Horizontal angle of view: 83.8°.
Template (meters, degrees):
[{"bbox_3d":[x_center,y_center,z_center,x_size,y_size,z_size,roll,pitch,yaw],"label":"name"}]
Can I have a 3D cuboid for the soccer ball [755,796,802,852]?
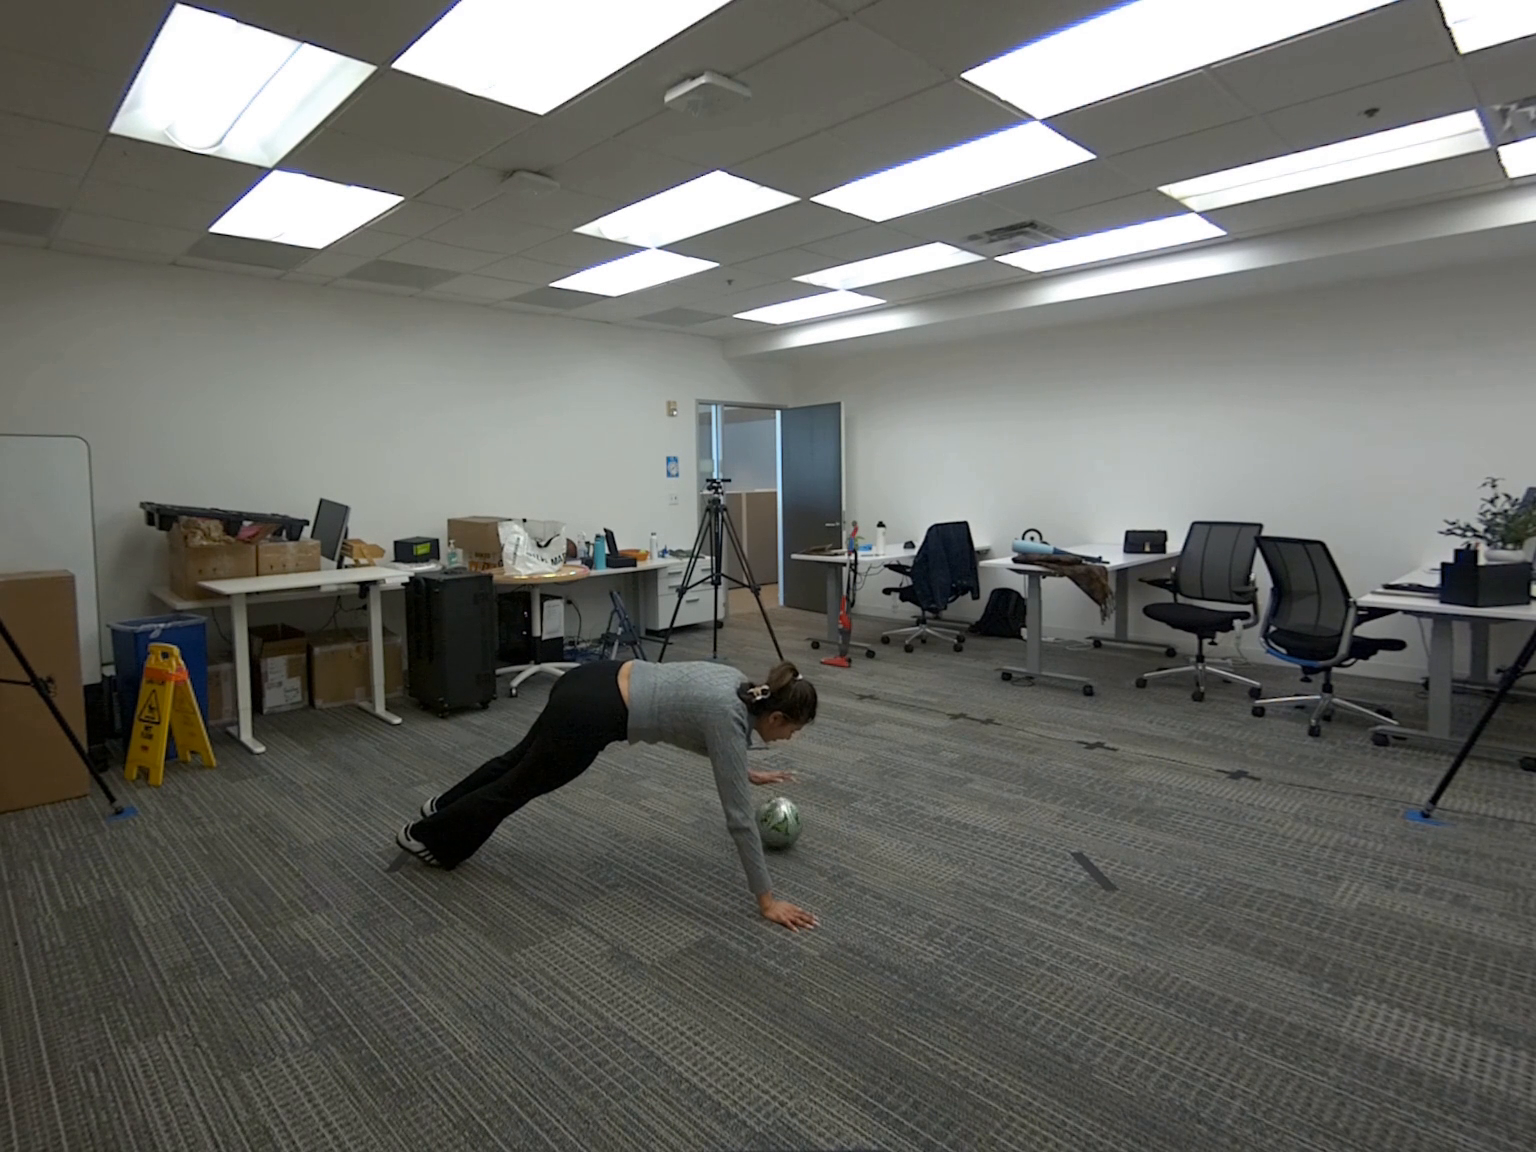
[{"bbox_3d":[0.040,0.933,3.242,0.187,0.187,0.188,-1,5,-2],"label":"soccer ball"}]
